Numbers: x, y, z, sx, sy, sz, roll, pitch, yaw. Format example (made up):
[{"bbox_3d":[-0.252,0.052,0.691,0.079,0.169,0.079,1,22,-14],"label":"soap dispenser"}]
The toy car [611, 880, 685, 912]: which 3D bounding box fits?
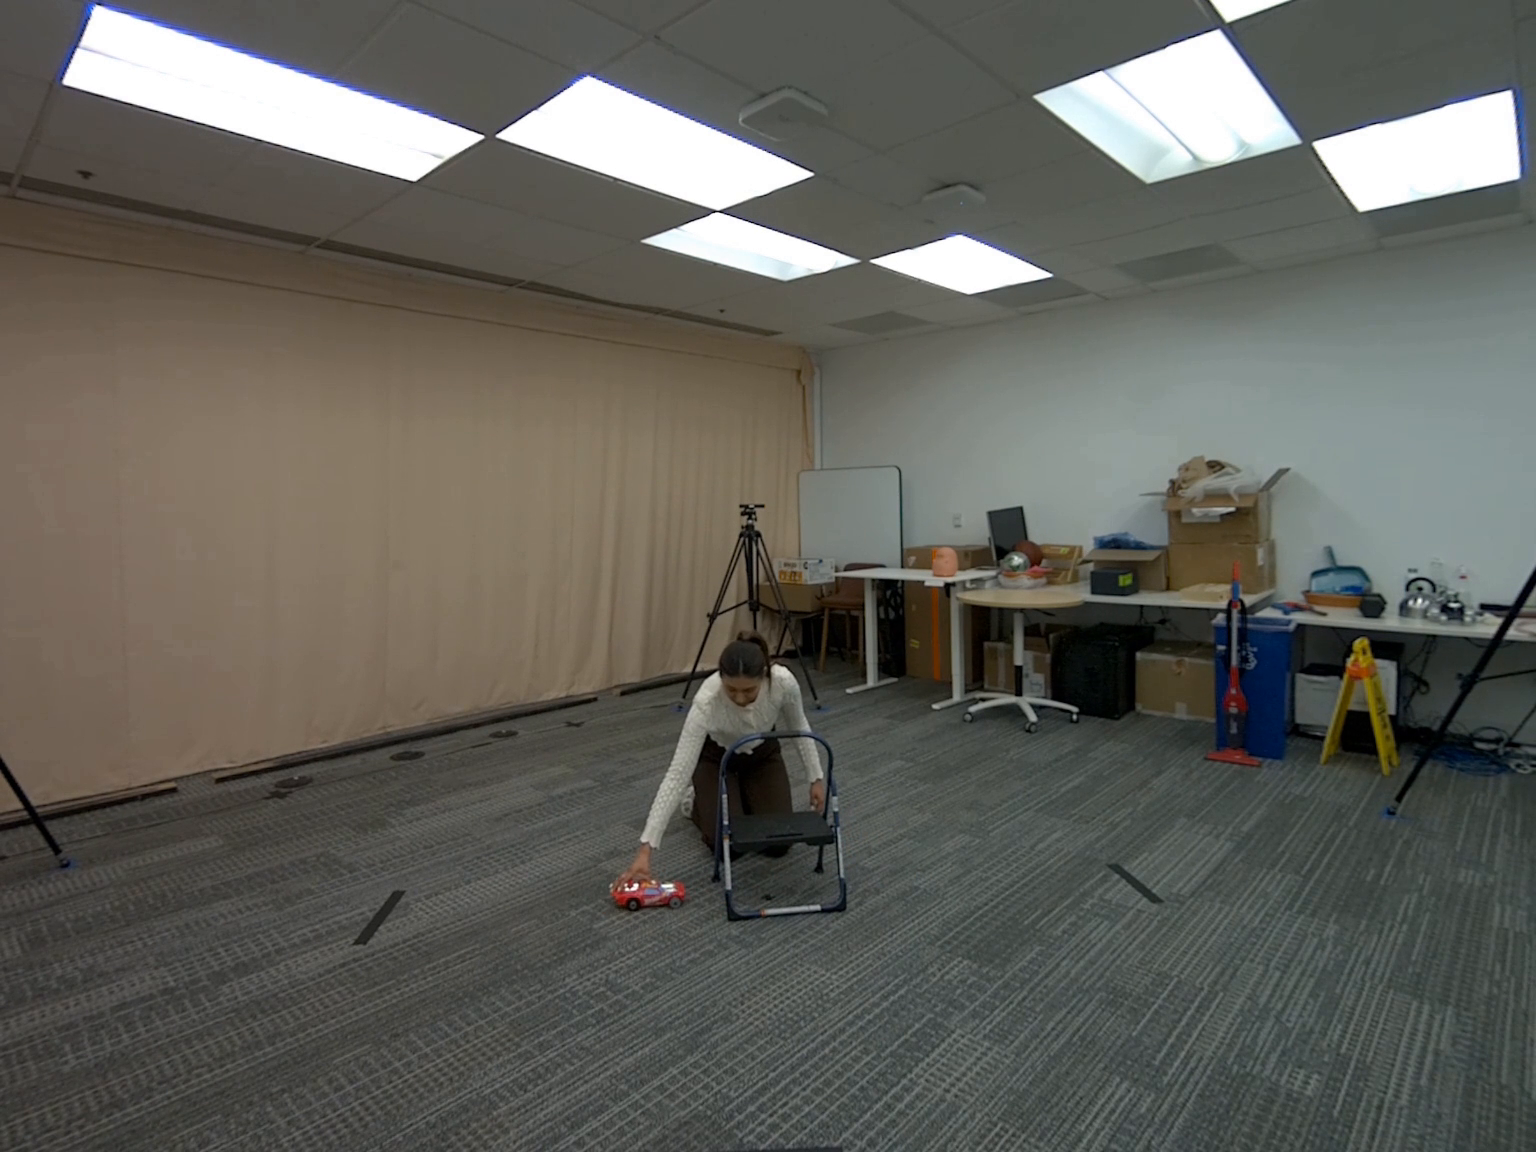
[{"bbox_3d":[-0.419,1.118,2.967,0.252,0.083,0.131,7,2,-9],"label":"toy car"}]
